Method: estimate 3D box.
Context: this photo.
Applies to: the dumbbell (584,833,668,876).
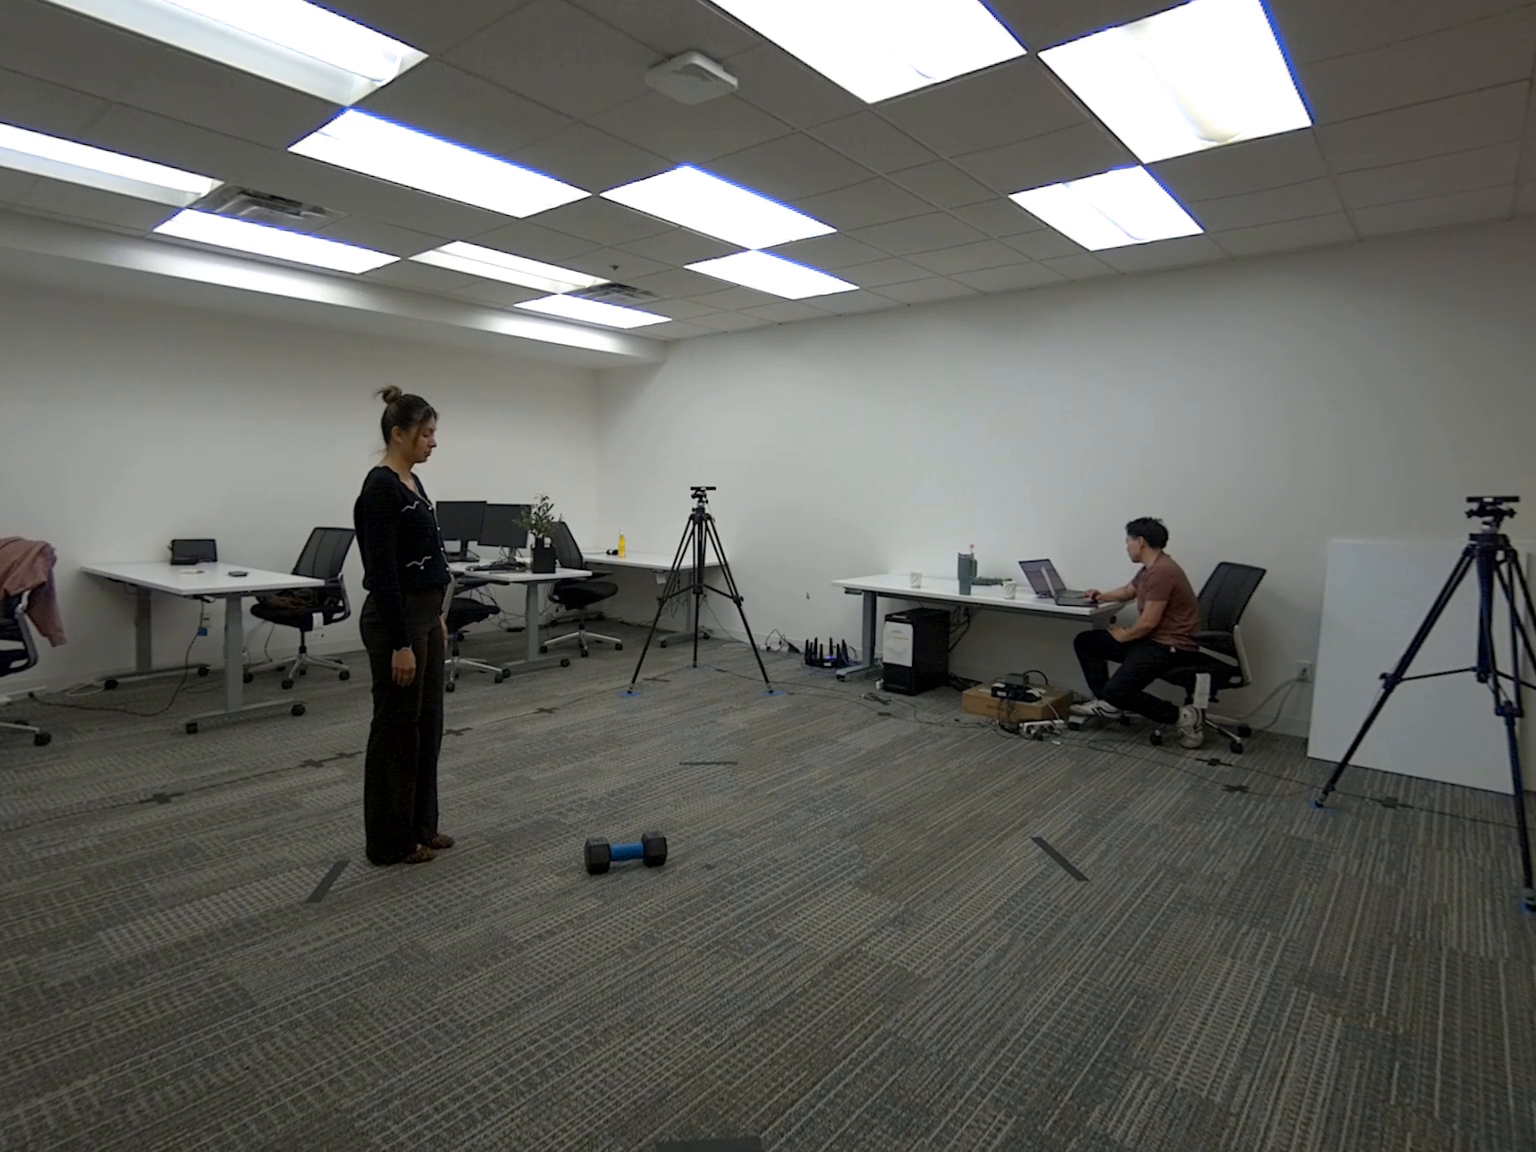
[{"bbox_3d":[-0.529,1.009,3.110,0.288,0.120,0.113,-1,34,-19],"label":"dumbbell"}]
